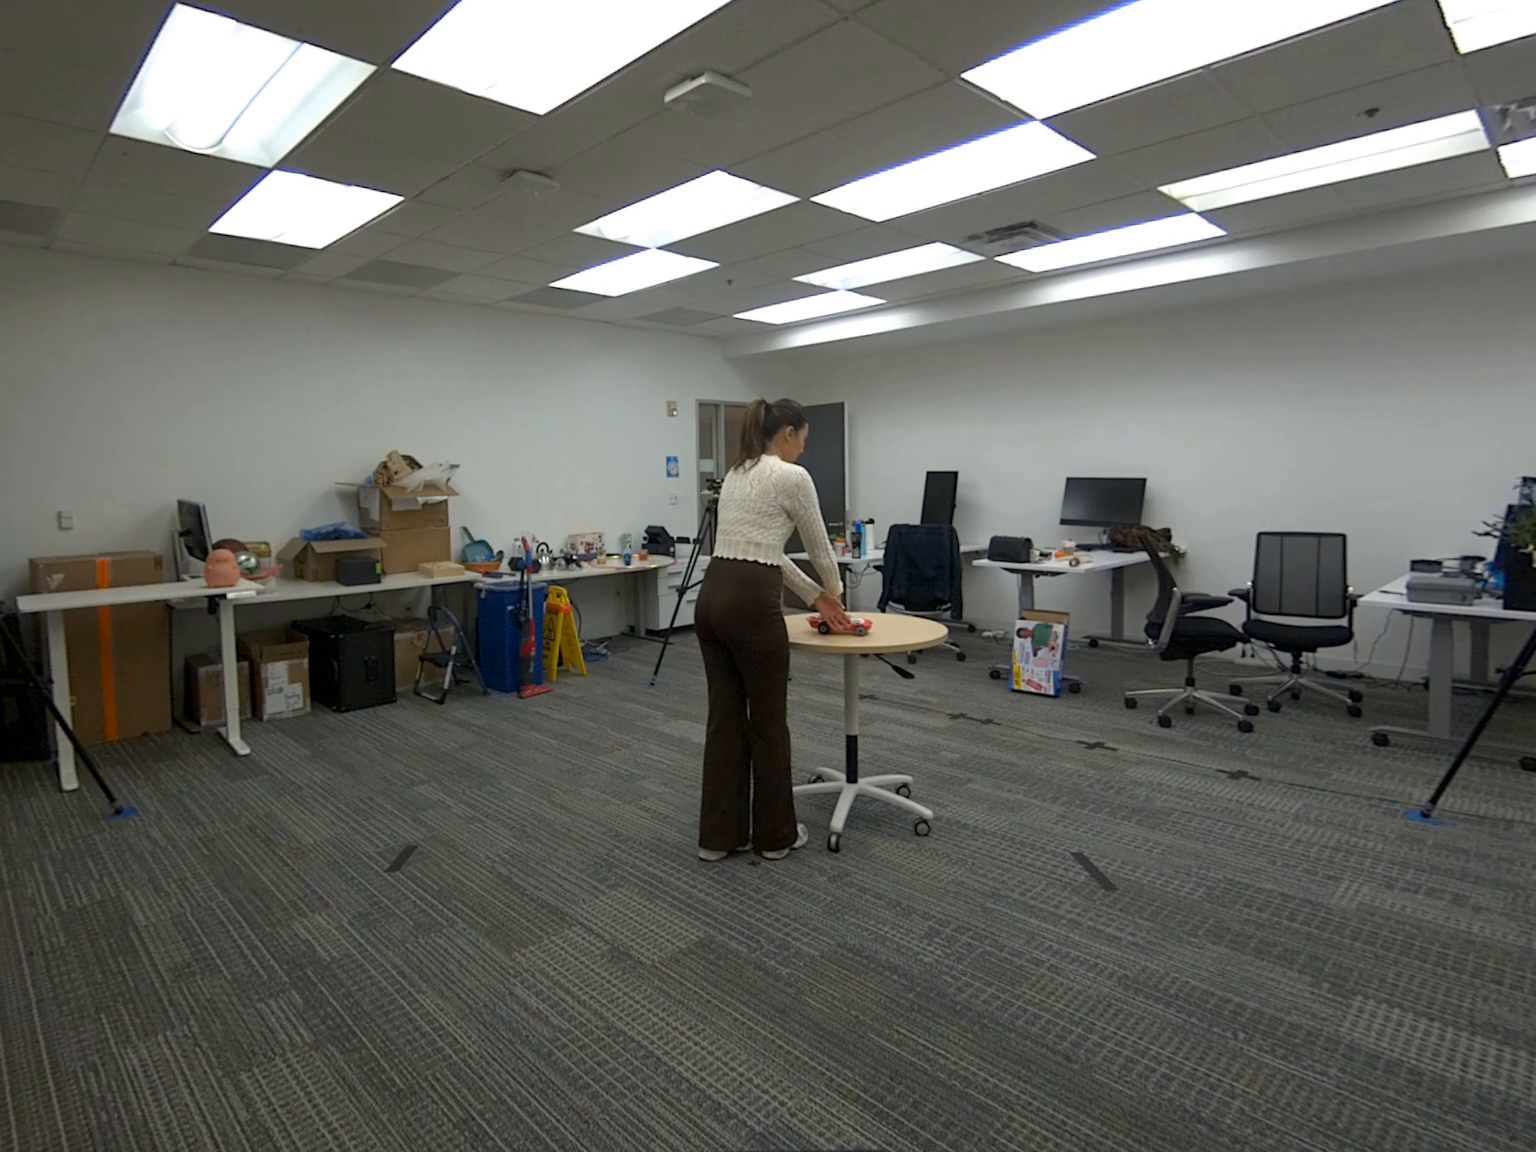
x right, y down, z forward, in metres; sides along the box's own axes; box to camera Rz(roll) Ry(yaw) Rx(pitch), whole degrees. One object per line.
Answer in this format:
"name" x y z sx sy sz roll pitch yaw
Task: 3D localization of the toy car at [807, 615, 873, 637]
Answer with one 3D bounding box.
"toy car" 0.283 0.193 3.374 0.259 0.083 0.129 12 9 16
